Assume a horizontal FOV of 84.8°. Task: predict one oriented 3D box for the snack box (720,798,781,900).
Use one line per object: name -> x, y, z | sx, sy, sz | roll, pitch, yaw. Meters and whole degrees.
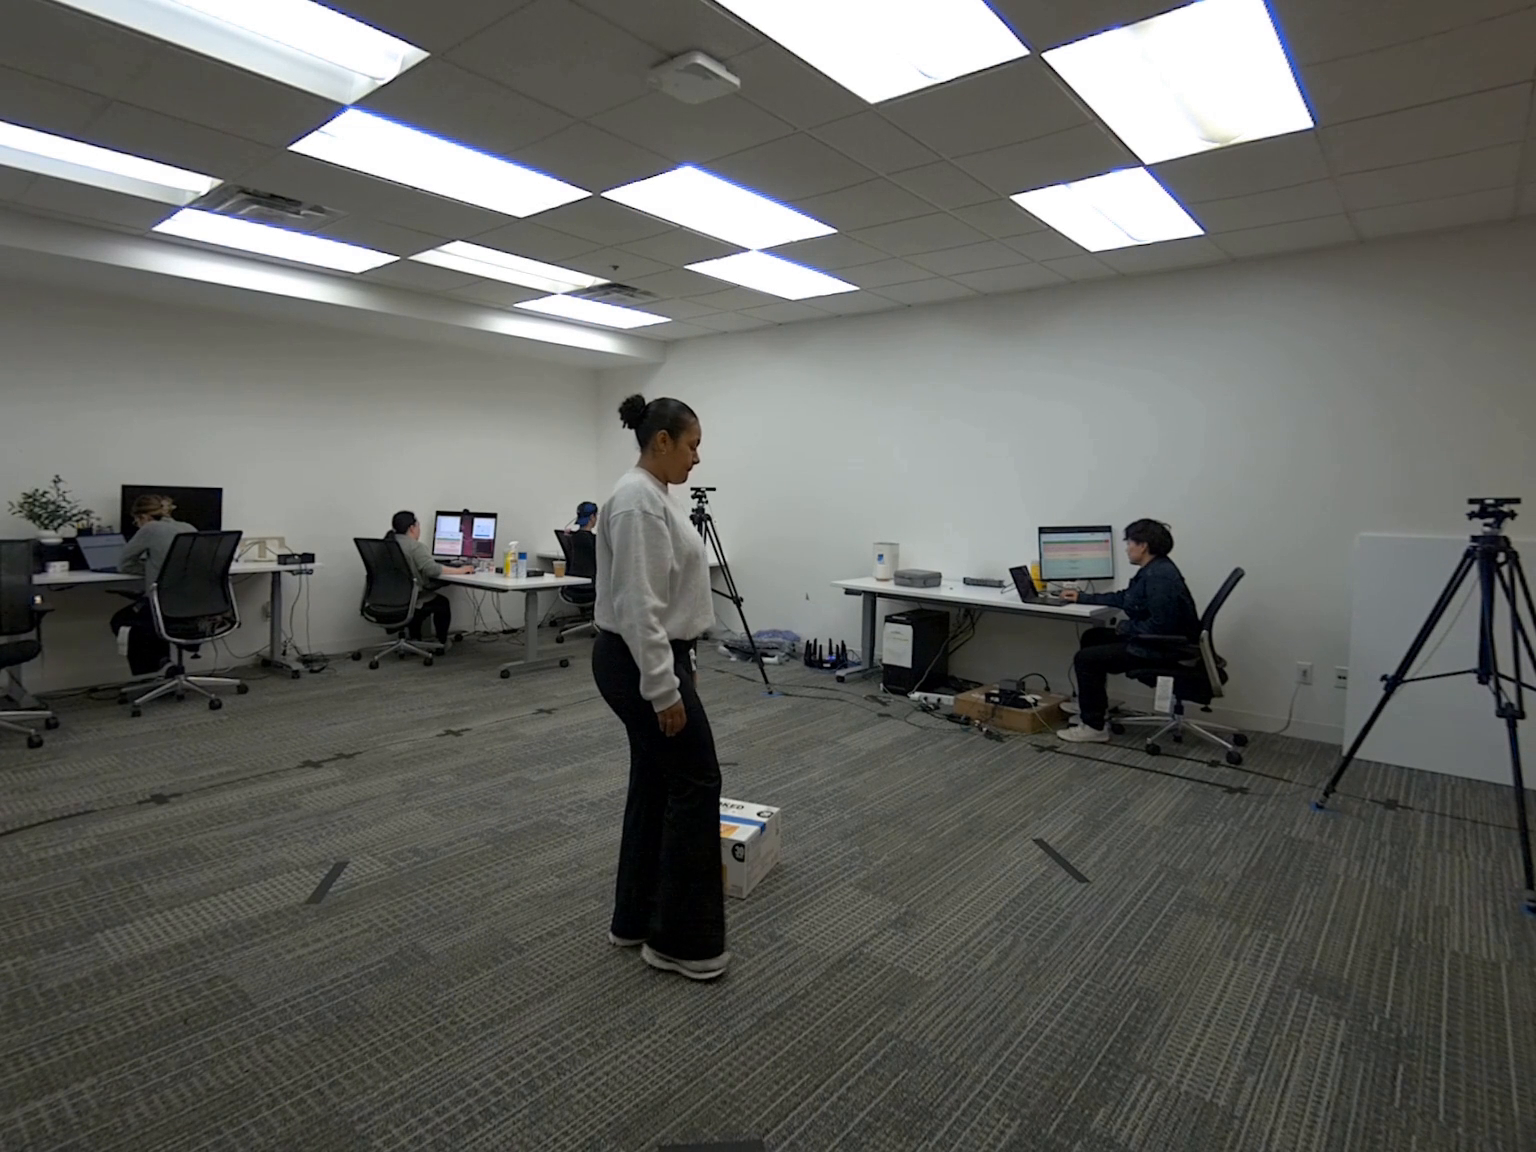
snack box -> -0.212, 0.965, 3.097 | 0.415, 0.205, 0.333 | 3, 5, 23
